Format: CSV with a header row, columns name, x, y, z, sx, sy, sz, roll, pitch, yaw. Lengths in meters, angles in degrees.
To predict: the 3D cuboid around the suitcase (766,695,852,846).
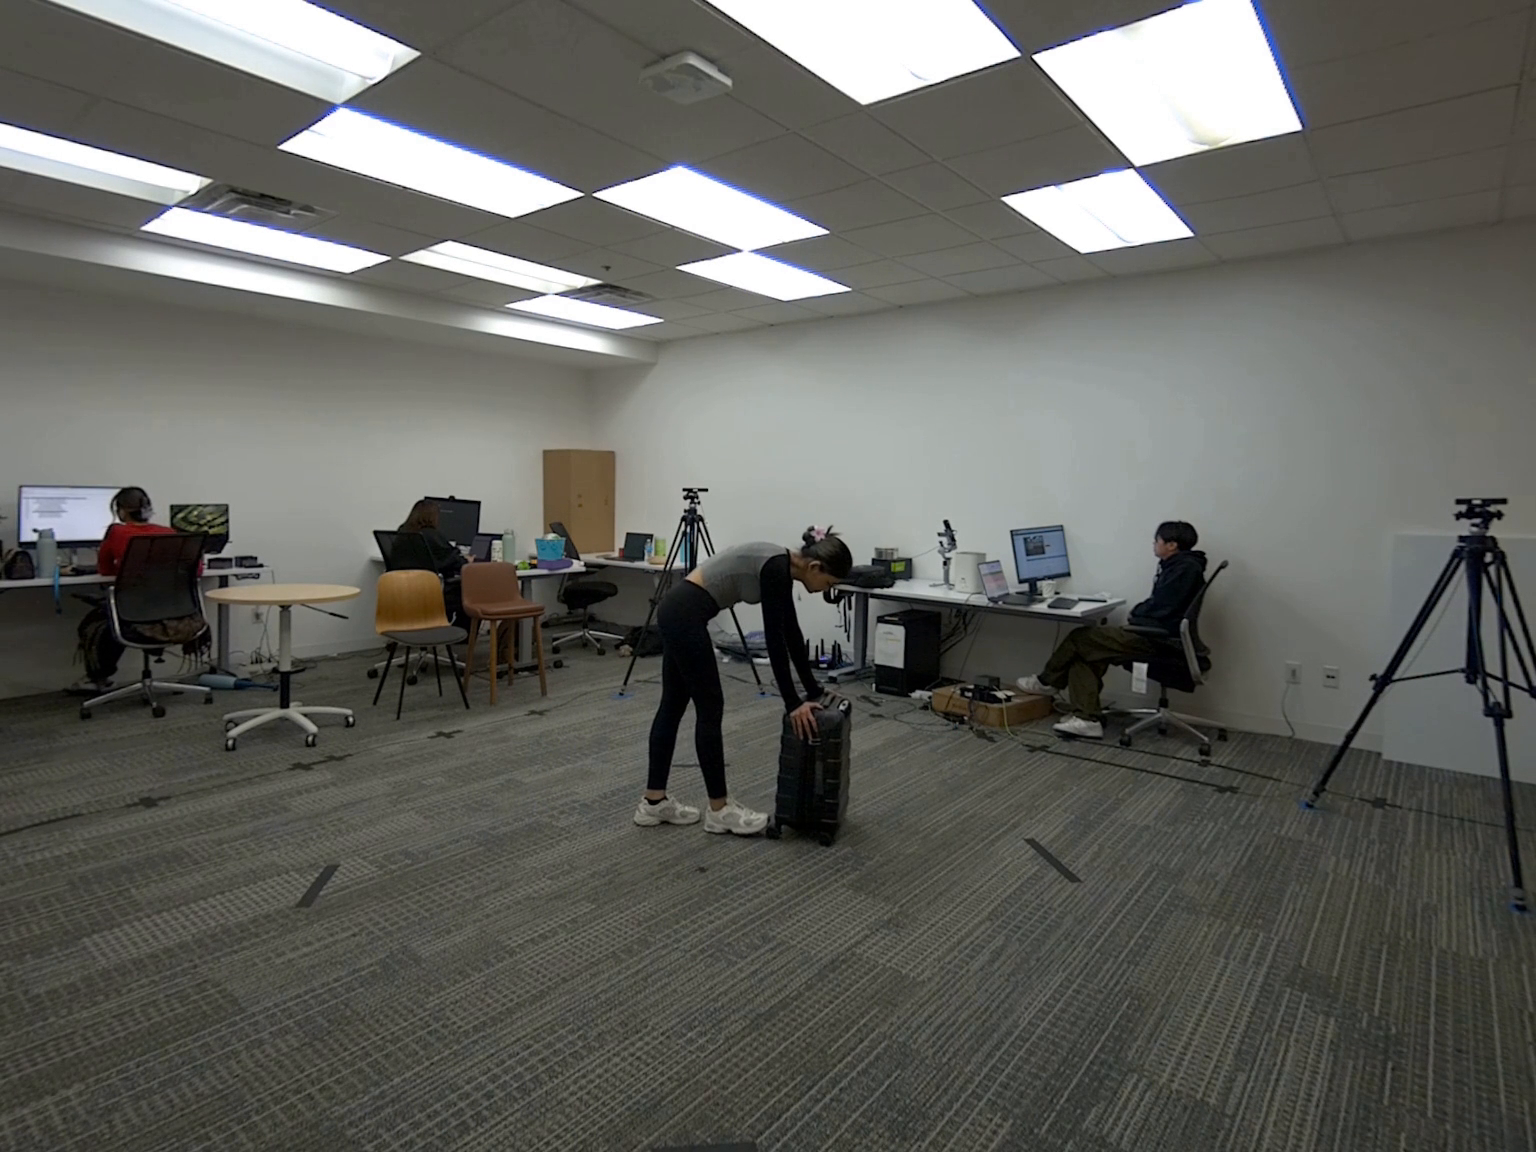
name,x,y,z,sx,sy,sz,roll,pitch,yaw
suitcase,0.187,0.770,3.491,0.253,0.547,0.371,4,5,14
